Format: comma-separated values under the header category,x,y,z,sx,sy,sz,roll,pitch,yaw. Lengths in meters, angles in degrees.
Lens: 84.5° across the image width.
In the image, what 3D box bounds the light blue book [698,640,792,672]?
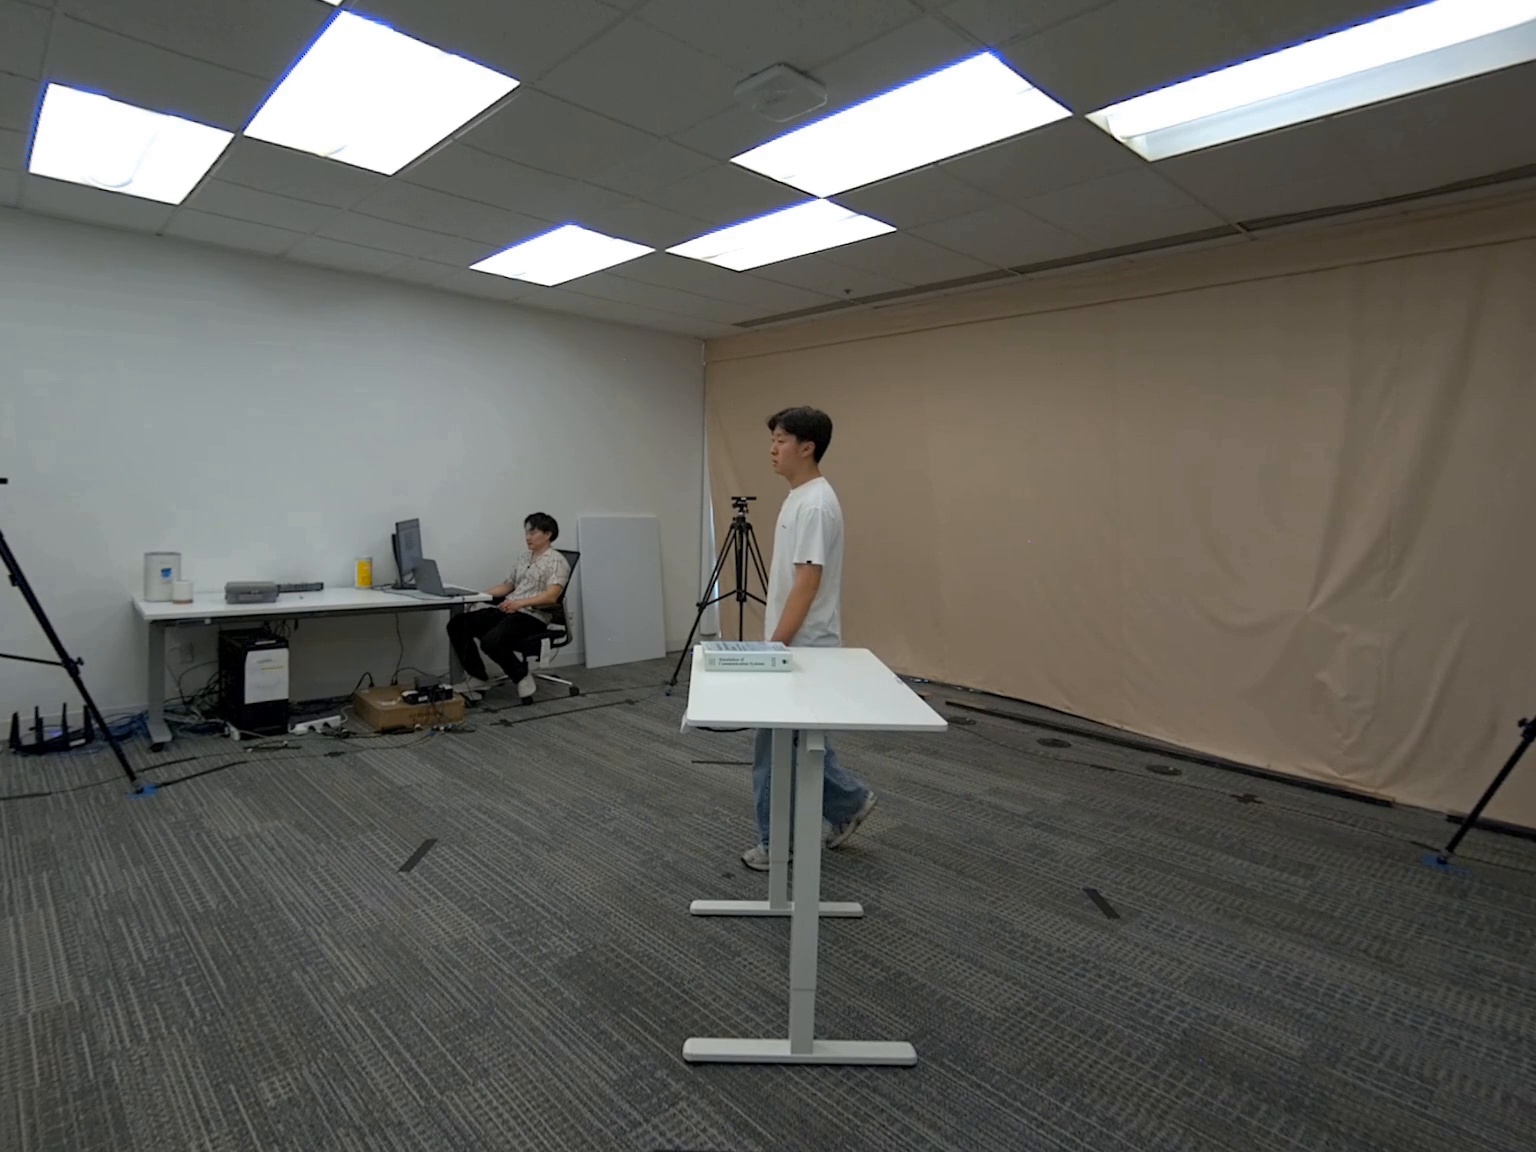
category,x,y,z,sx,sy,sz,roll,pitch,yaw
light blue book,-0.084,0.250,2.560,0.259,0.059,0.193,1,3,-9
